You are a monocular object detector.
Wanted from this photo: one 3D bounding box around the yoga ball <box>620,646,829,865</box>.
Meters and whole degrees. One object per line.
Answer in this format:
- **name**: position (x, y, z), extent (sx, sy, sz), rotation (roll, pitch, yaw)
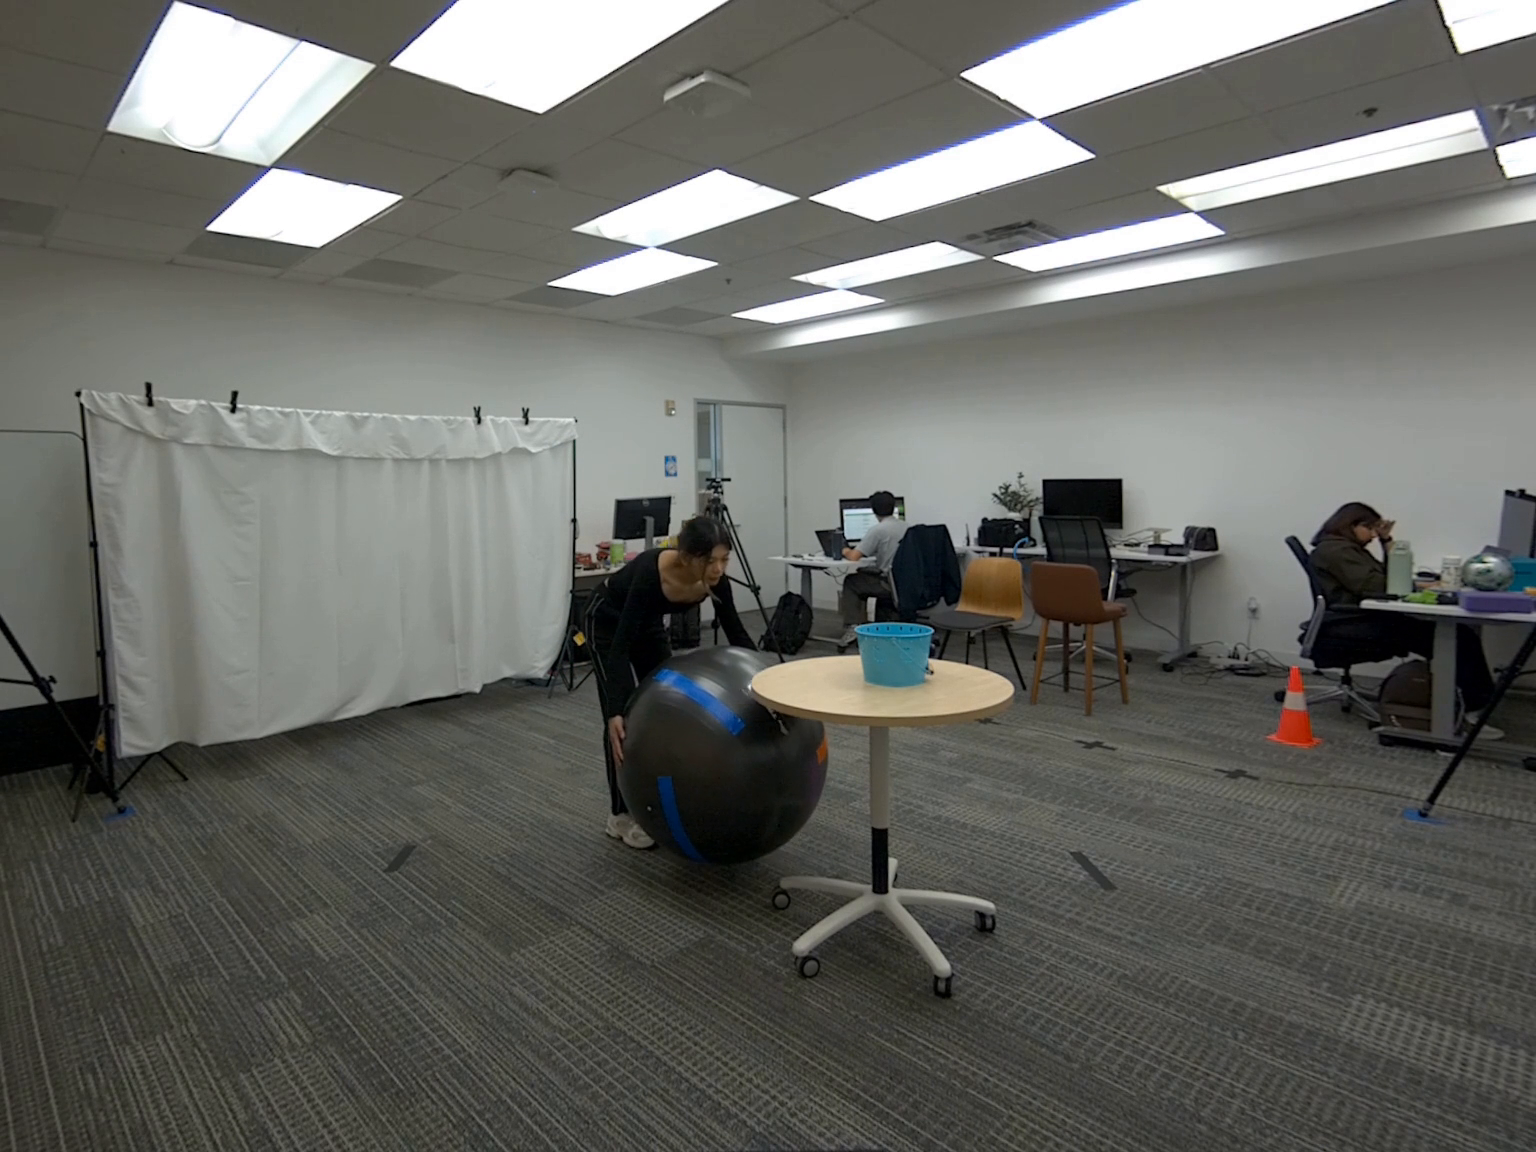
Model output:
- **yoga ball**: position (-0.166, 0.633, 3.031), extent (0.757, 0.755, 0.762), rotation (-1, 5, -2)
